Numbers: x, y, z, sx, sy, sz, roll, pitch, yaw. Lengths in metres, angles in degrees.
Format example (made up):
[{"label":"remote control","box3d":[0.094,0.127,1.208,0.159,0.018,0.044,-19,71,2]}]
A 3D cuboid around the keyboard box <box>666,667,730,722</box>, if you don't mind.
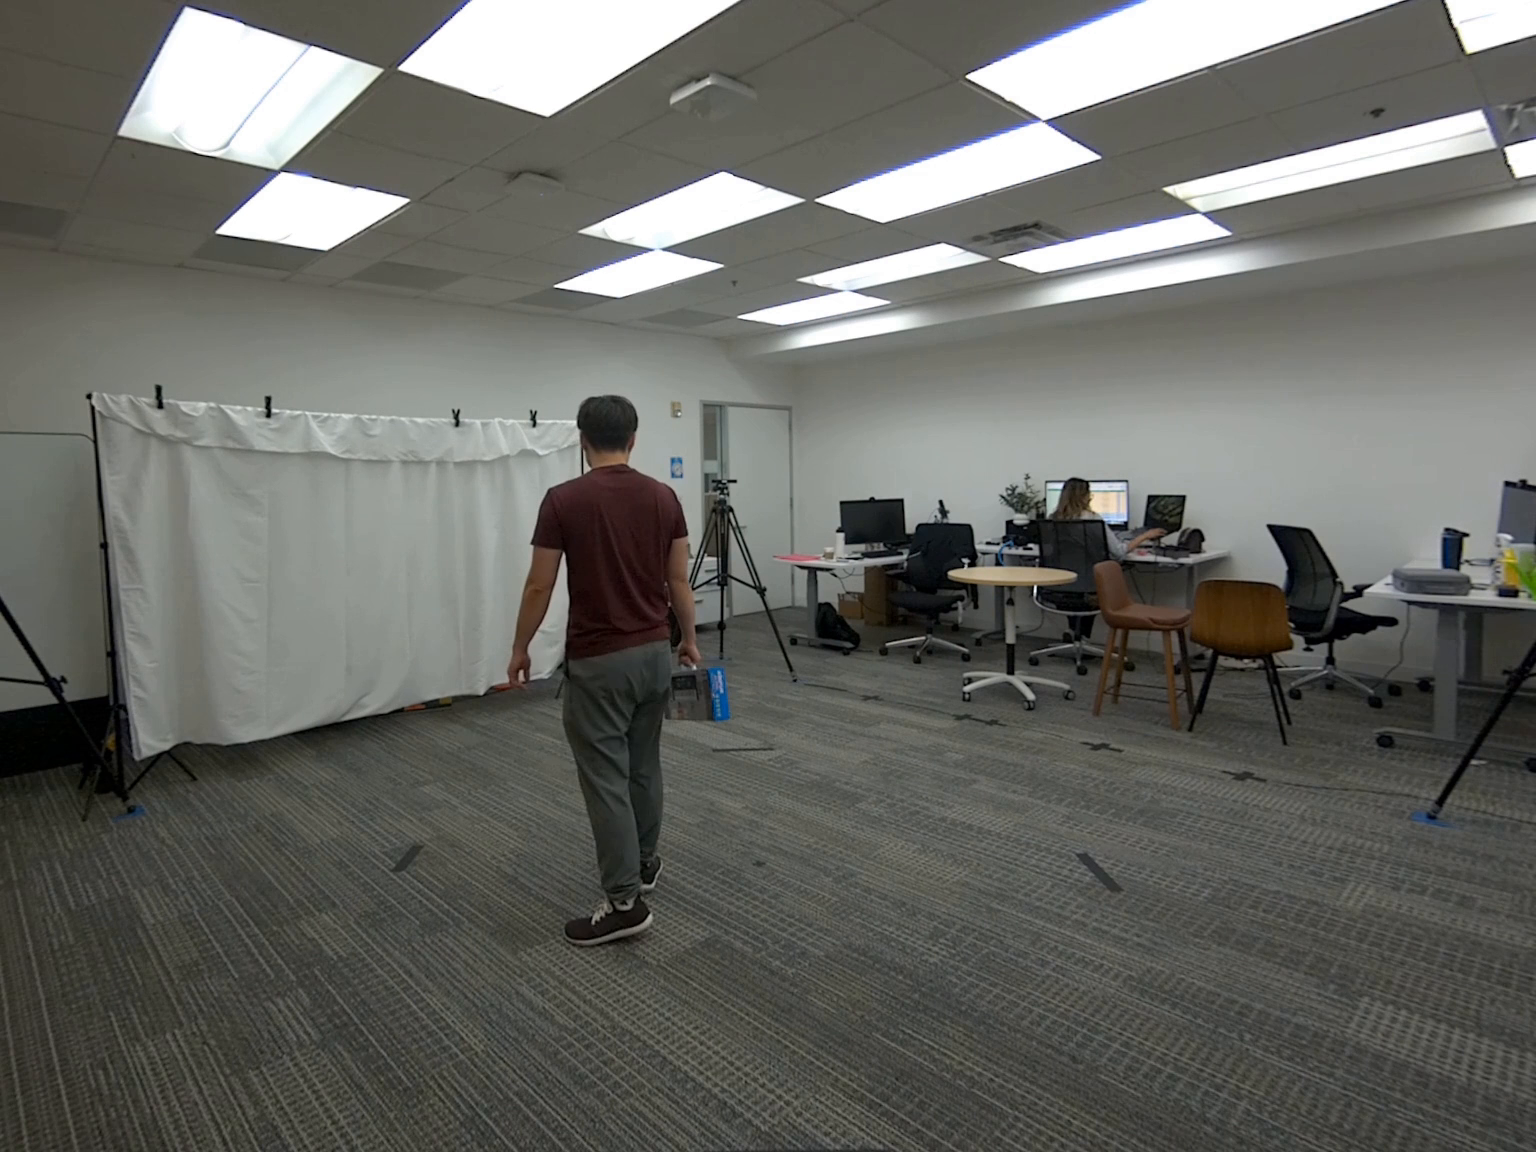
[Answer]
[{"label":"keyboard box","box3d":[-0.265,0.416,2.996,0.058,0.177,0.444,-4,-6,-29]}]
